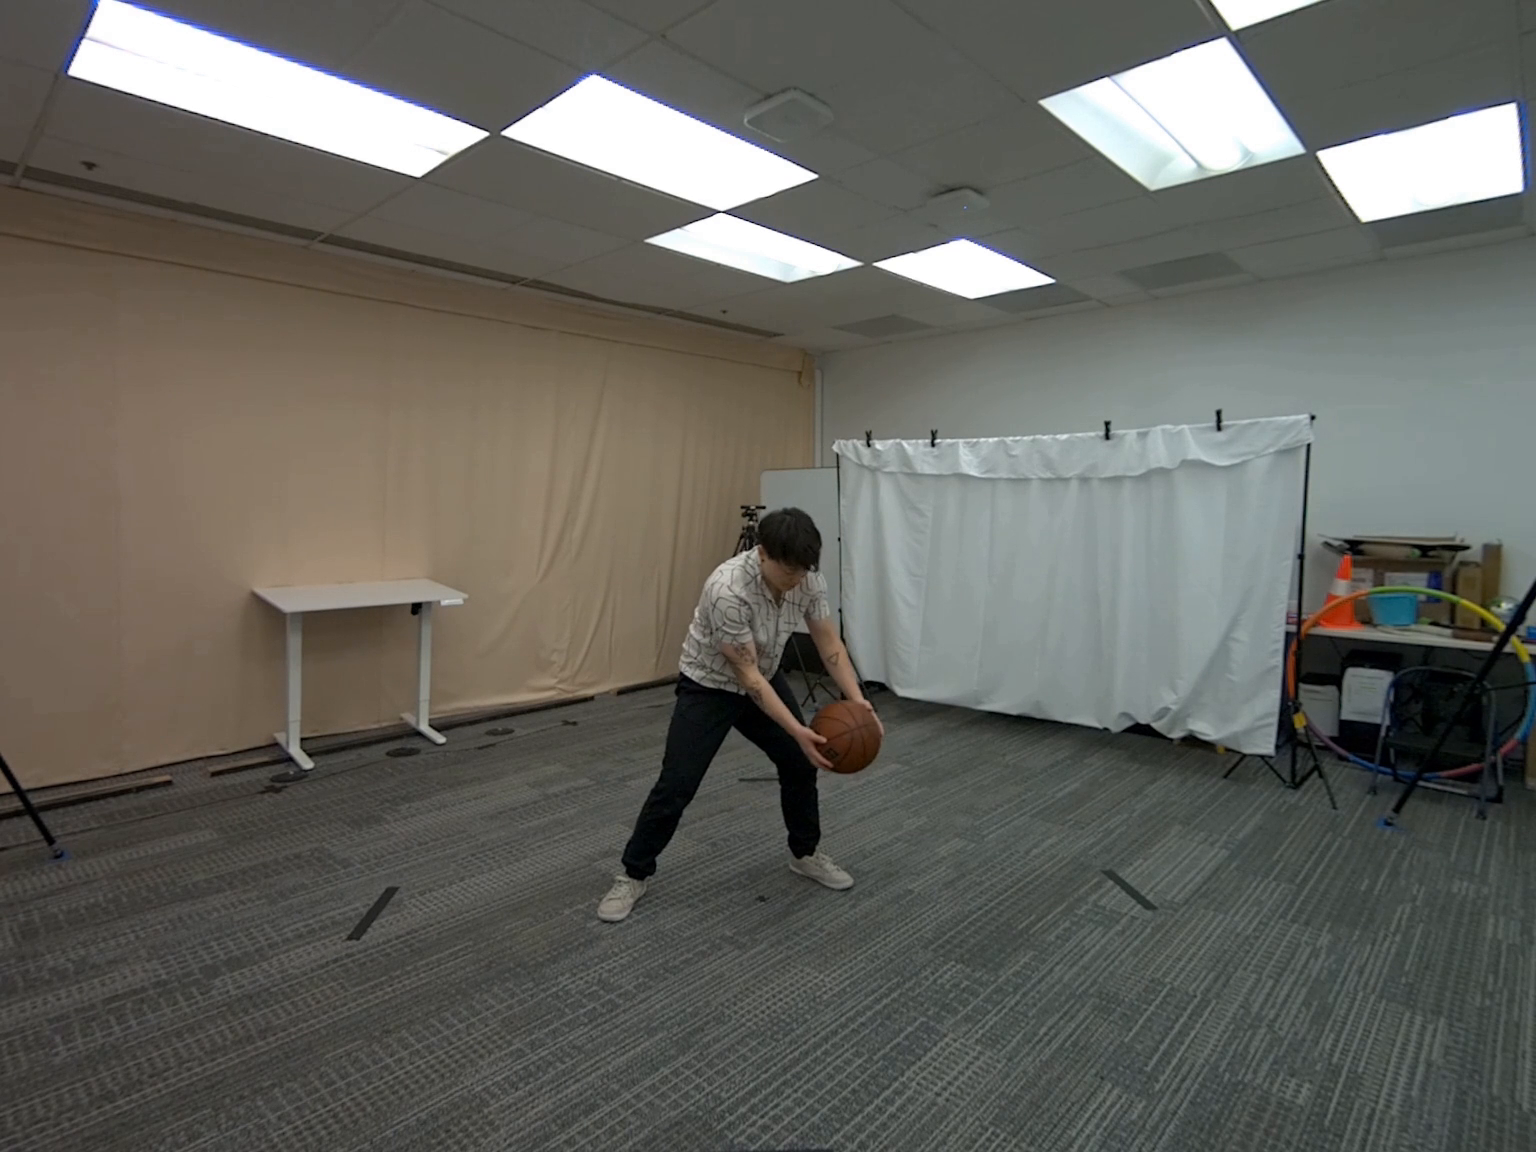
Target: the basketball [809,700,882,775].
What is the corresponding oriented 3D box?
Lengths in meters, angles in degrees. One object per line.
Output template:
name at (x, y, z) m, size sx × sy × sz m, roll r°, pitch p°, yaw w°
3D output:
basketball at (0.257, 0.523, 2.783) m, size 0.236 × 0.235 × 0.237 m, roll 0°, pitch 4°, yaw -2°
